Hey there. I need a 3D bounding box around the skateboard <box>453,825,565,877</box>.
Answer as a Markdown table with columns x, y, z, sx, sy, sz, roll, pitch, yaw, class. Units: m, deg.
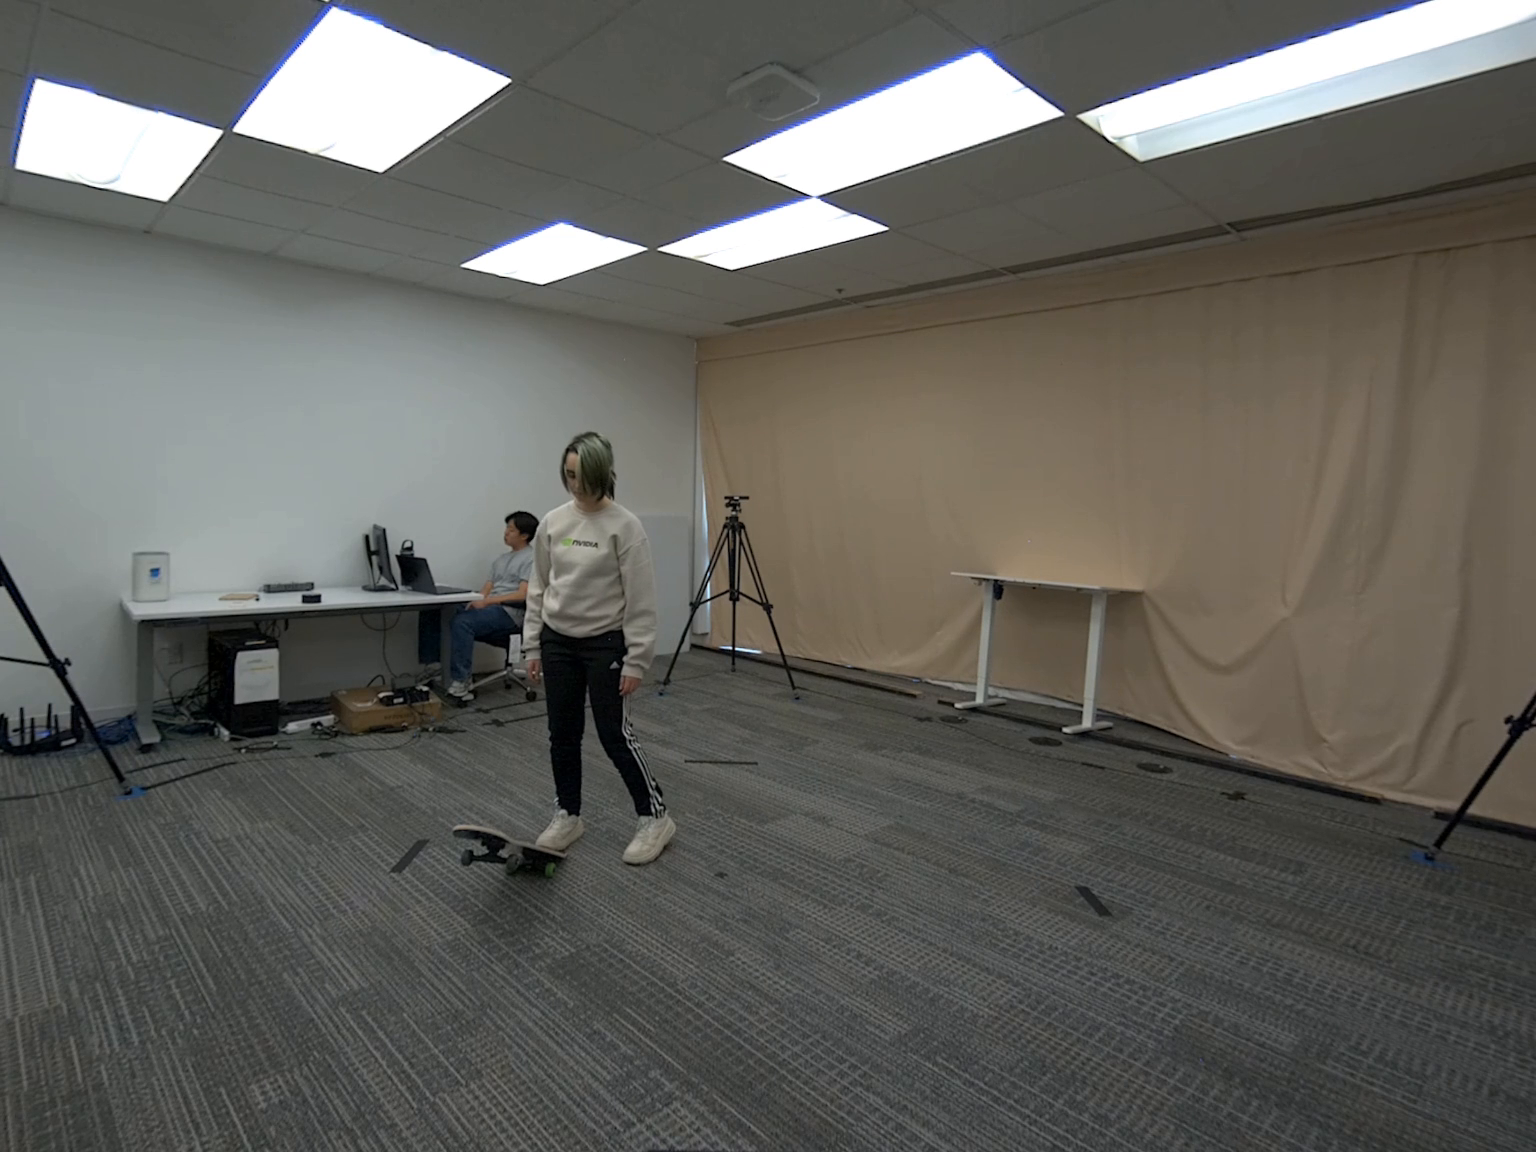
| x | y | z | sx | sy | sz | roll | pitch | yaw | class |
| --- | --- | --- | --- | --- | --- | --- | --- | --- | --- |
| -0.893 | 0.967 | 2.894 | 0.195 | 0.112 | 0.769 | 2 | -23 | 7 | skateboard |
